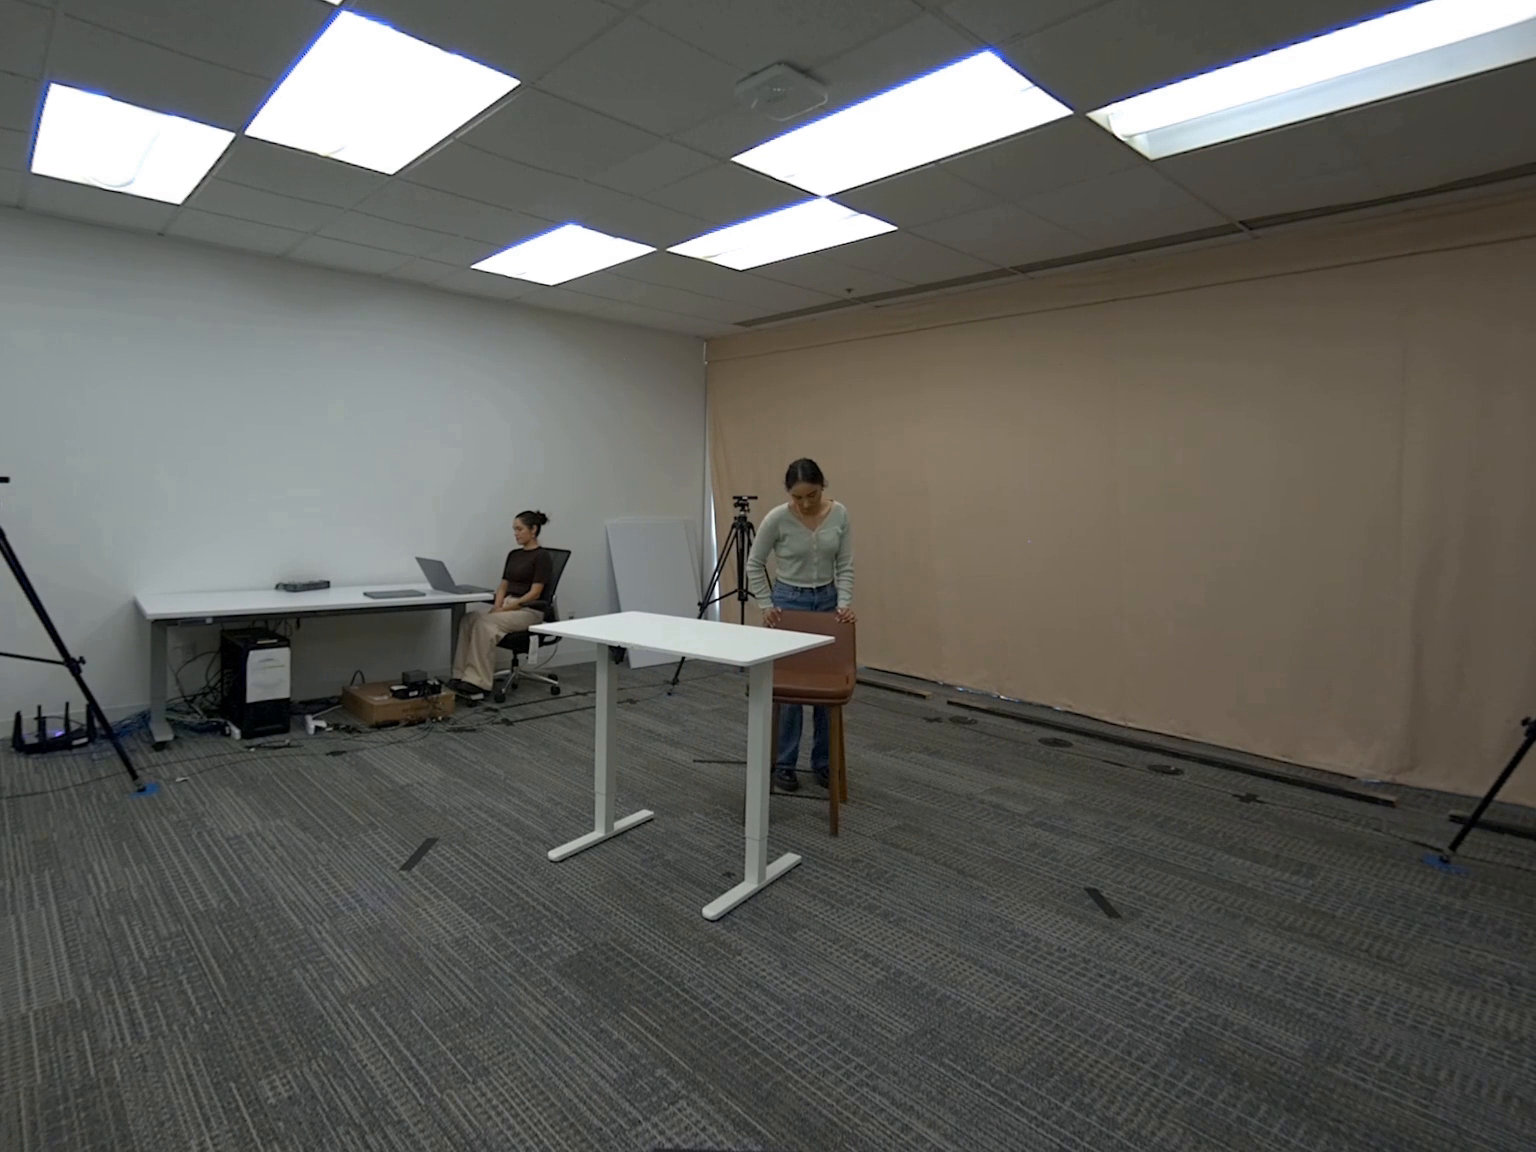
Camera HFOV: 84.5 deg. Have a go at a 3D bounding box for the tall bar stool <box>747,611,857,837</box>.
[{"bbox_3d":[0.140,0.616,3.726,0.462,0.889,0.462,2,1,14],"label":"tall bar stool"}]
